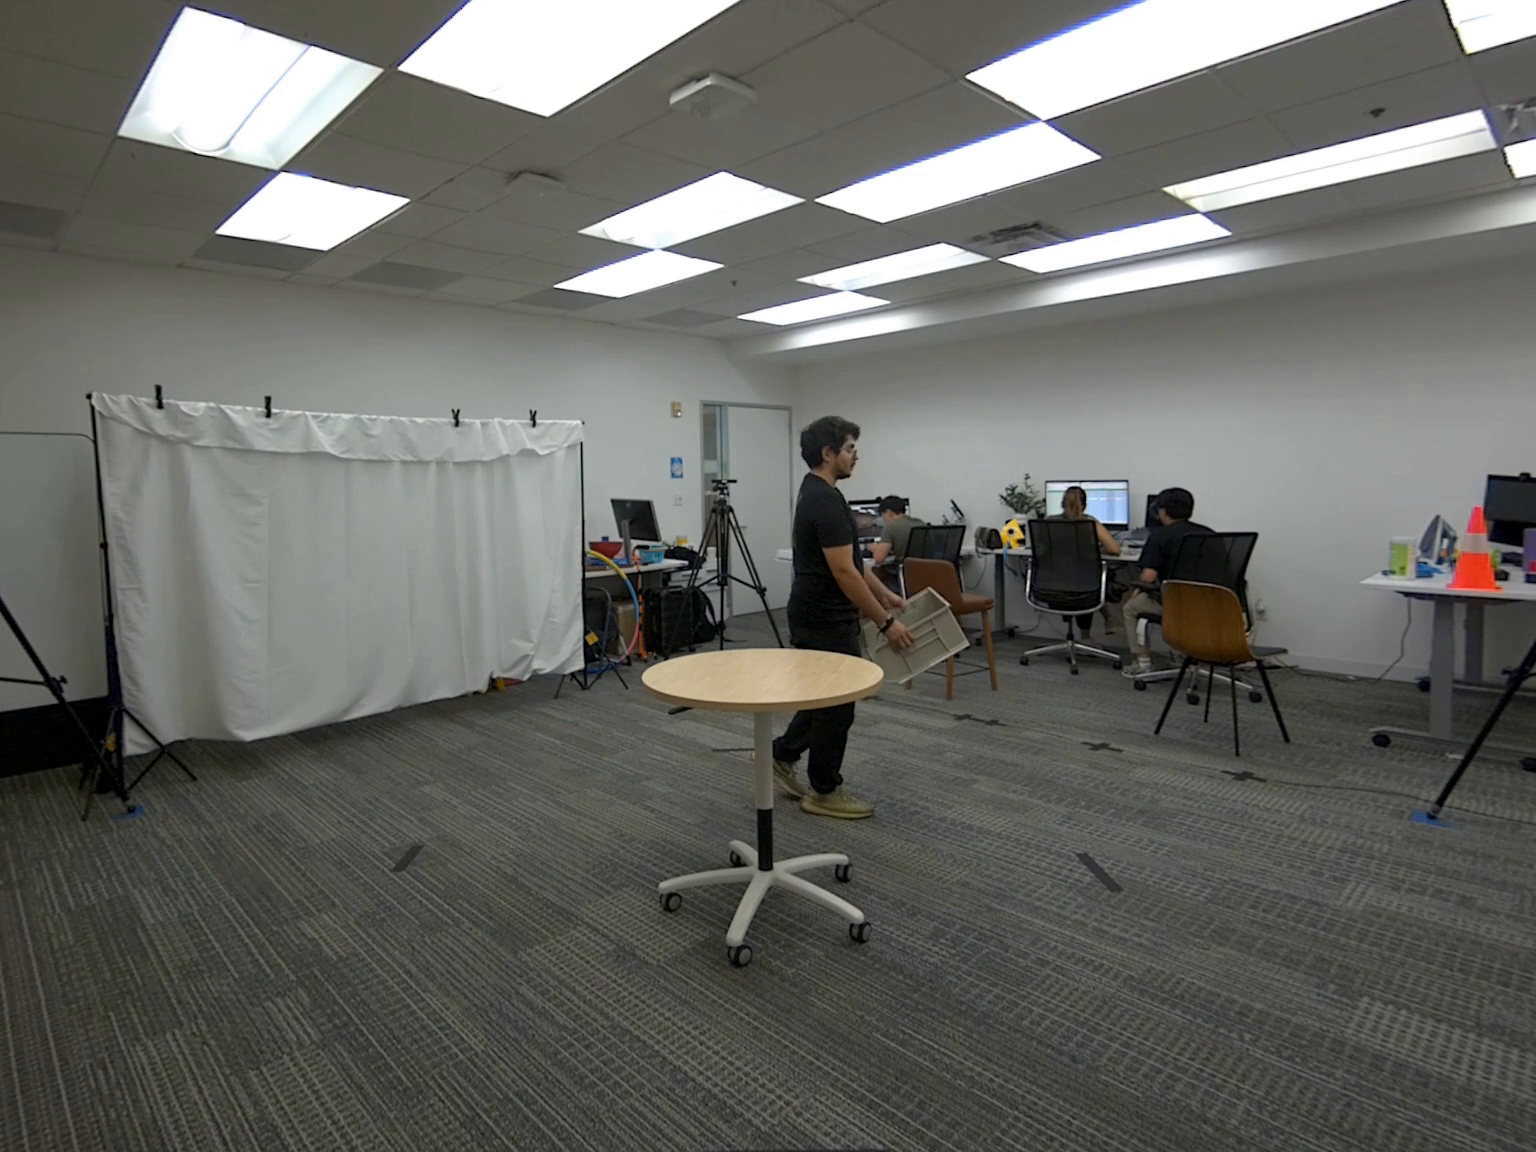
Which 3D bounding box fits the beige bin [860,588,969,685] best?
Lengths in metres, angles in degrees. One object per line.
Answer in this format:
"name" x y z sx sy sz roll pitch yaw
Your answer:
"beige bin" 0.578 0.247 3.514 0.378 0.188 0.423 -31 5 6
